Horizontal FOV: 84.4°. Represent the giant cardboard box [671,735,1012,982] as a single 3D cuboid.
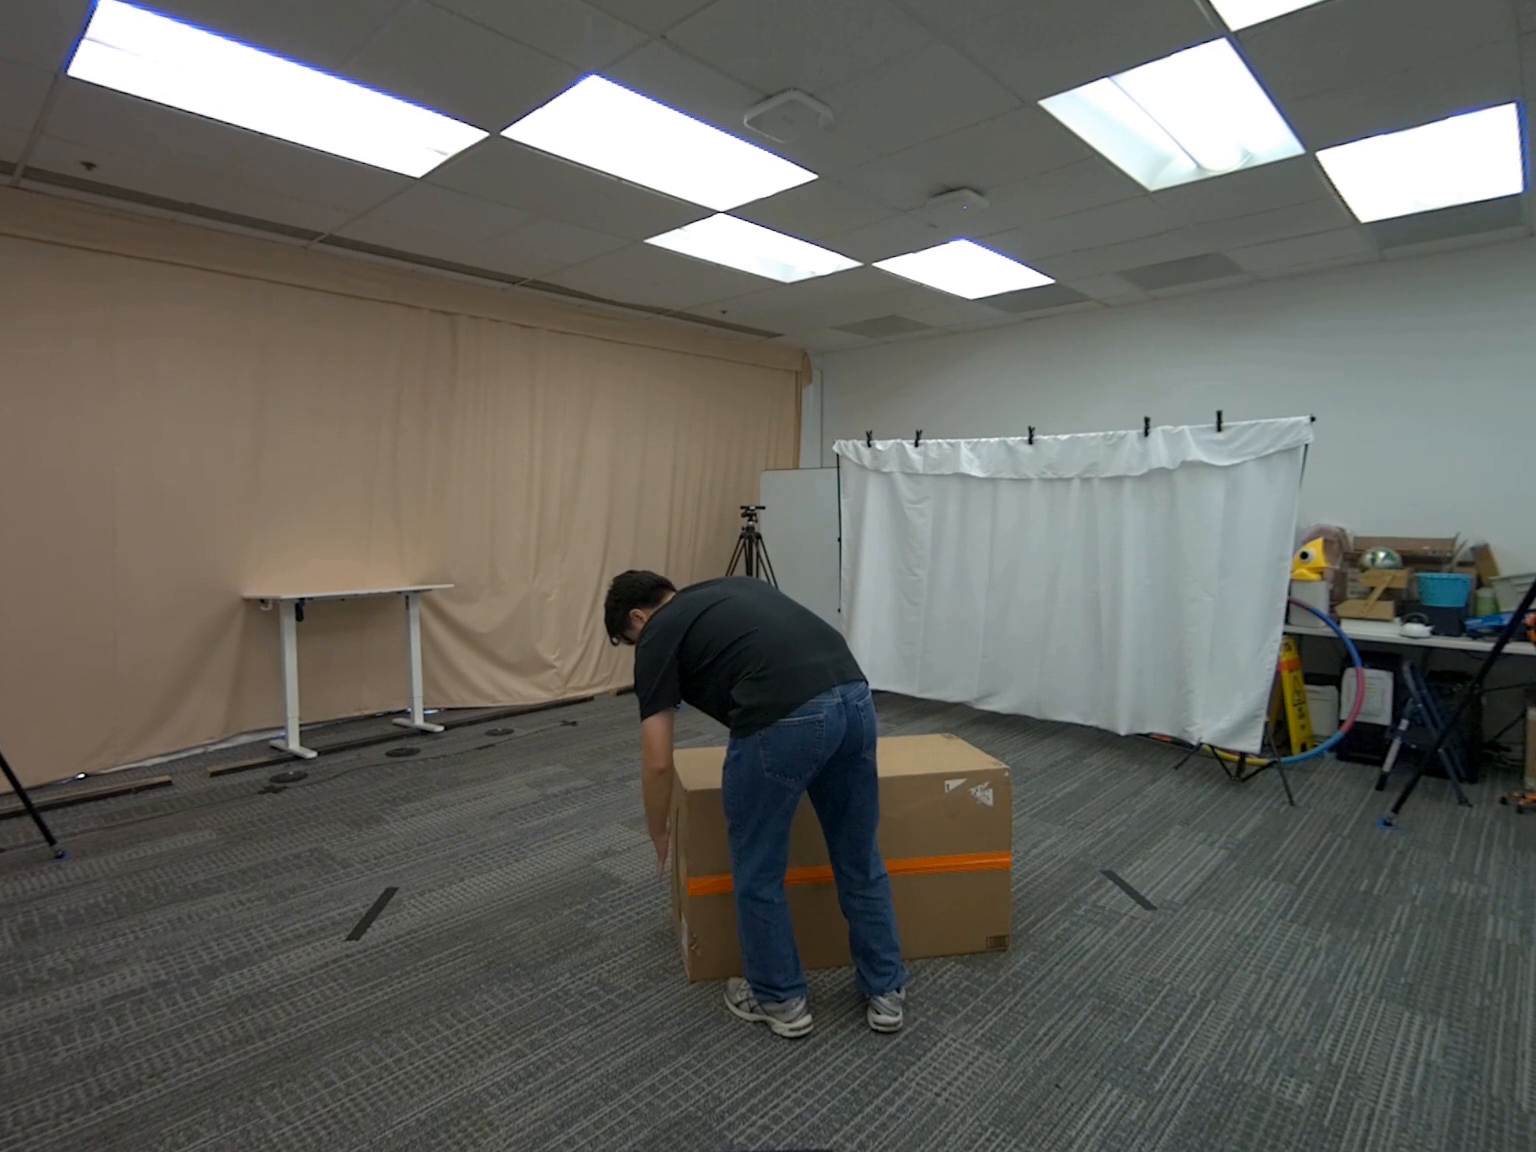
[{"bbox_3d":[0.215,0.876,2.737,1.015,0.582,0.453,-2,5,-11],"label":"giant cardboard box"}]
